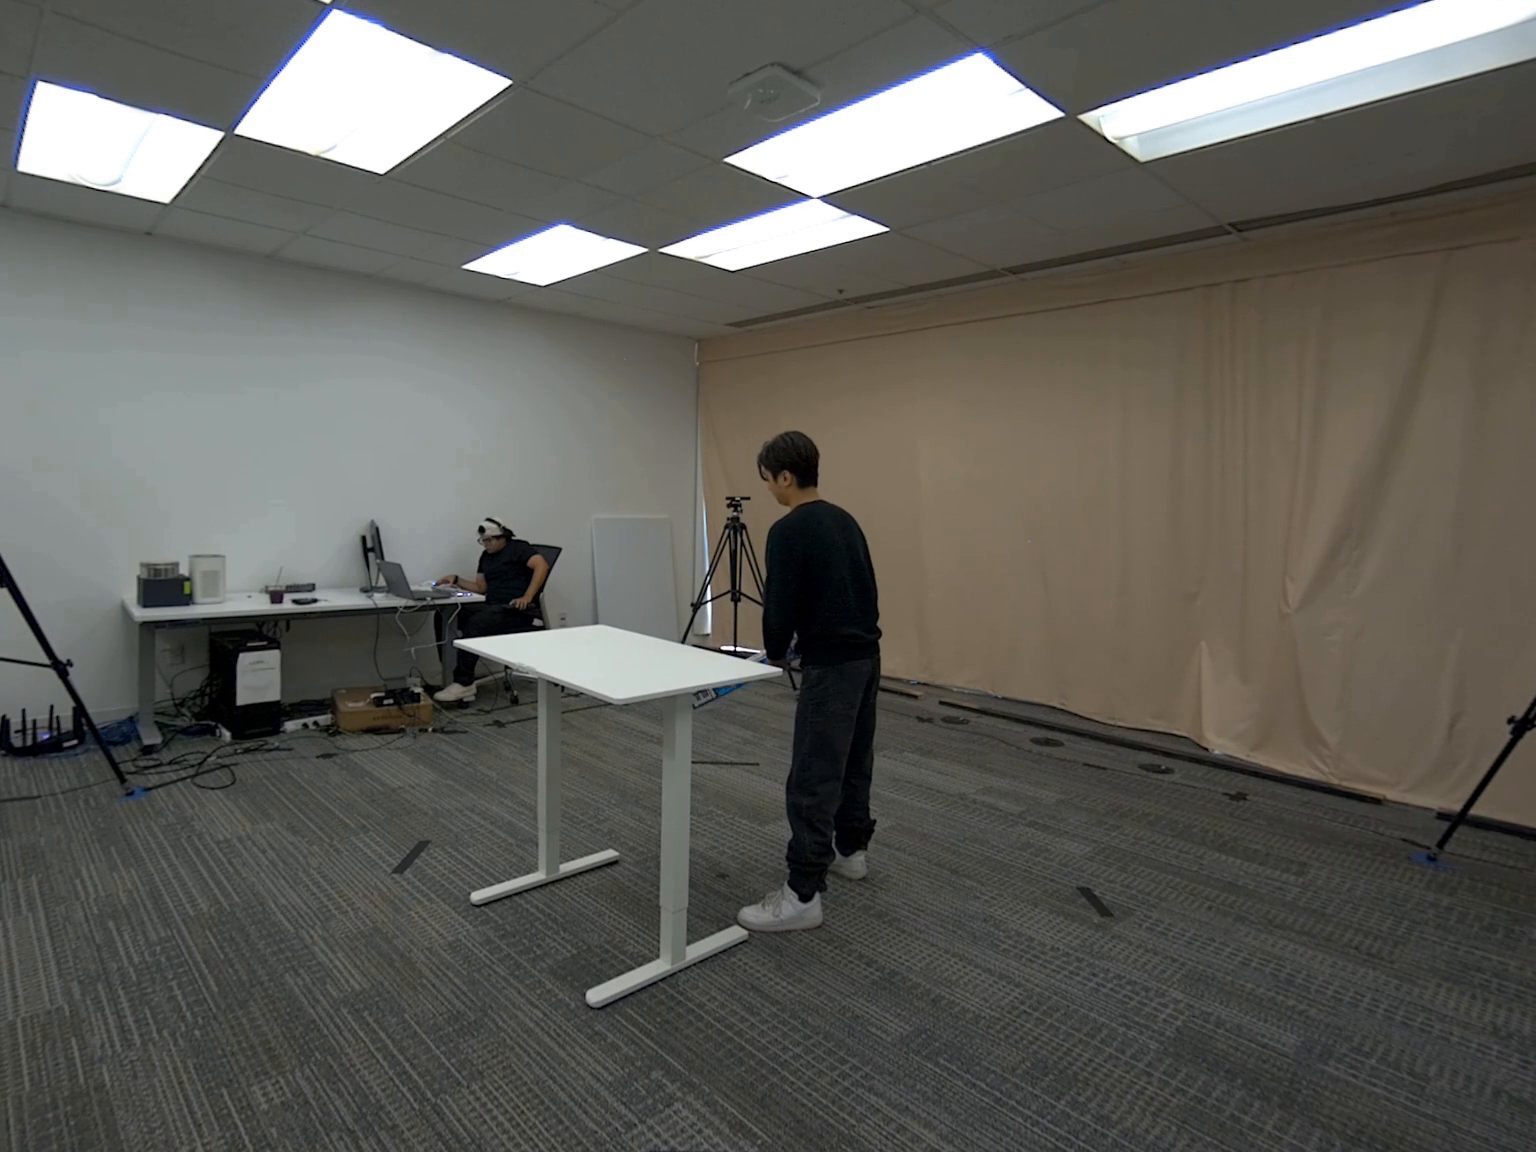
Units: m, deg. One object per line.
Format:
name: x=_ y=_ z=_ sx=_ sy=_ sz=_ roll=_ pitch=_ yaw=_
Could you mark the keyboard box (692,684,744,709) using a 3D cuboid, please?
keyboard box: x=-0.091 y=0.369 z=3.207 sx=0.438 sy=0.059 sz=0.175 roll=-27 pitch=3 yaw=8
